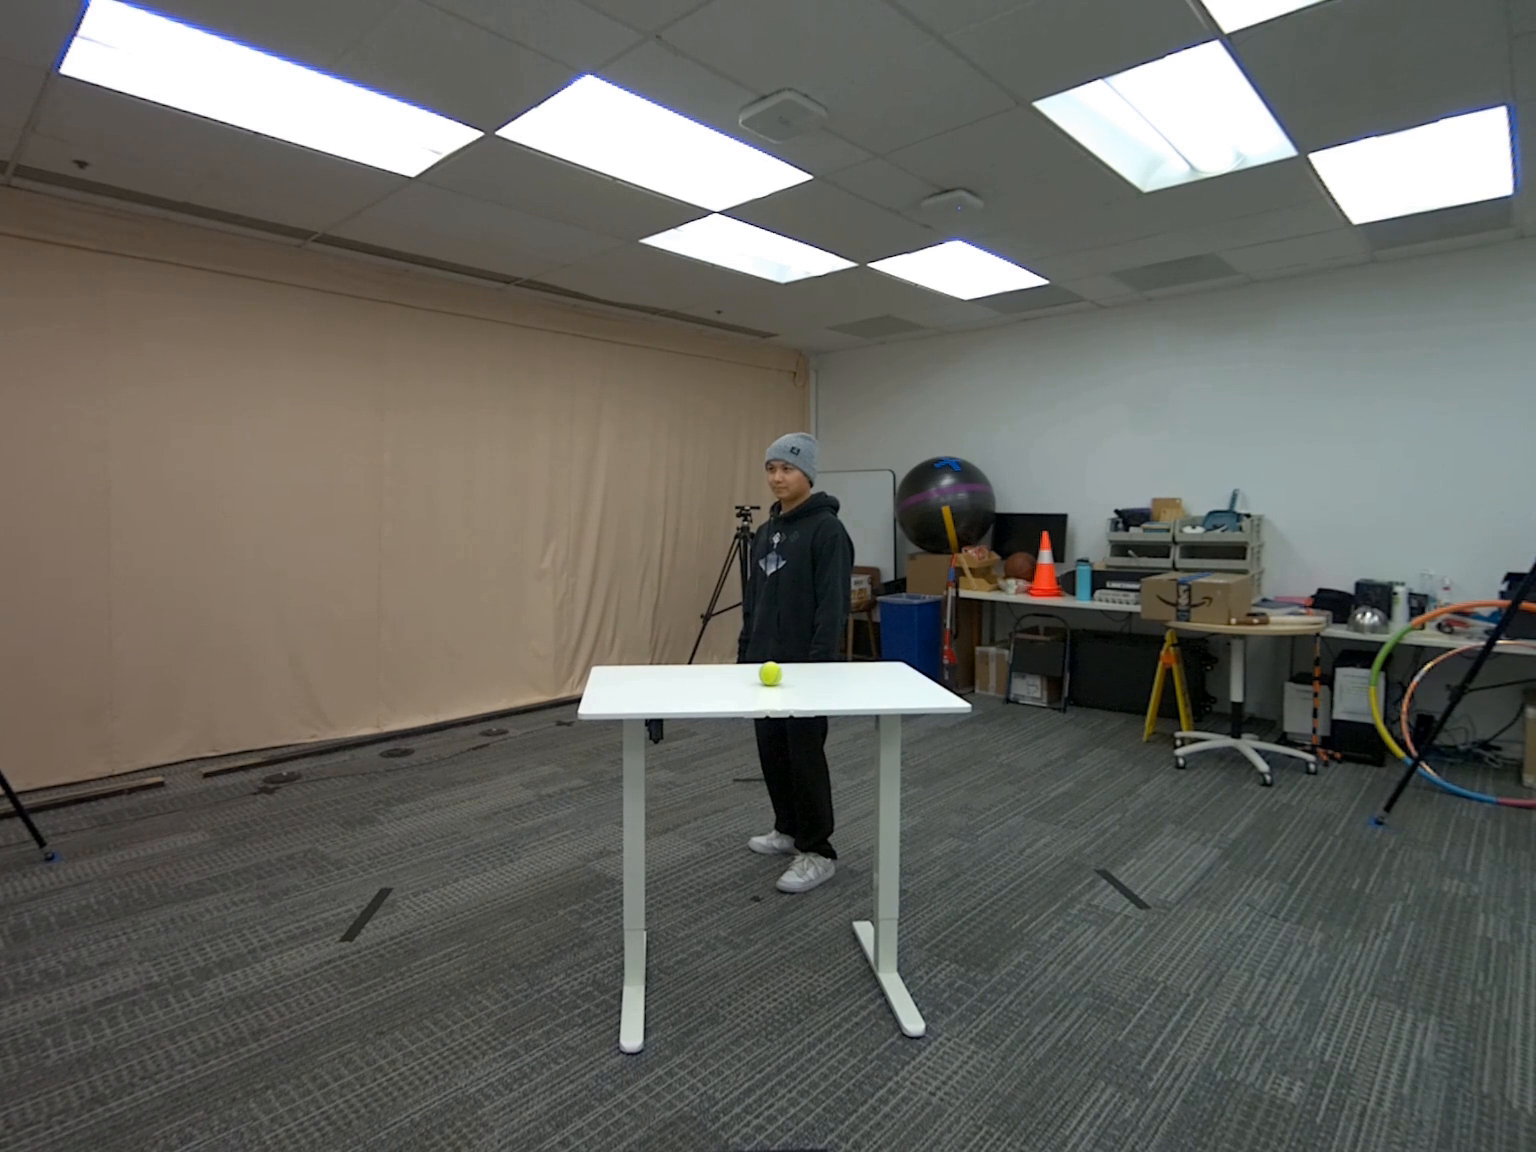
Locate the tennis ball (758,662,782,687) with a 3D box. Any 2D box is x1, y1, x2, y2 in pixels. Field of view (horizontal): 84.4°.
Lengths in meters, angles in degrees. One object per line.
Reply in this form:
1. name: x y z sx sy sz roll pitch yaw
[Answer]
1. tennis ball: 0.013 0.280 2.407 0.066 0.066 0.067 0 4 -2
